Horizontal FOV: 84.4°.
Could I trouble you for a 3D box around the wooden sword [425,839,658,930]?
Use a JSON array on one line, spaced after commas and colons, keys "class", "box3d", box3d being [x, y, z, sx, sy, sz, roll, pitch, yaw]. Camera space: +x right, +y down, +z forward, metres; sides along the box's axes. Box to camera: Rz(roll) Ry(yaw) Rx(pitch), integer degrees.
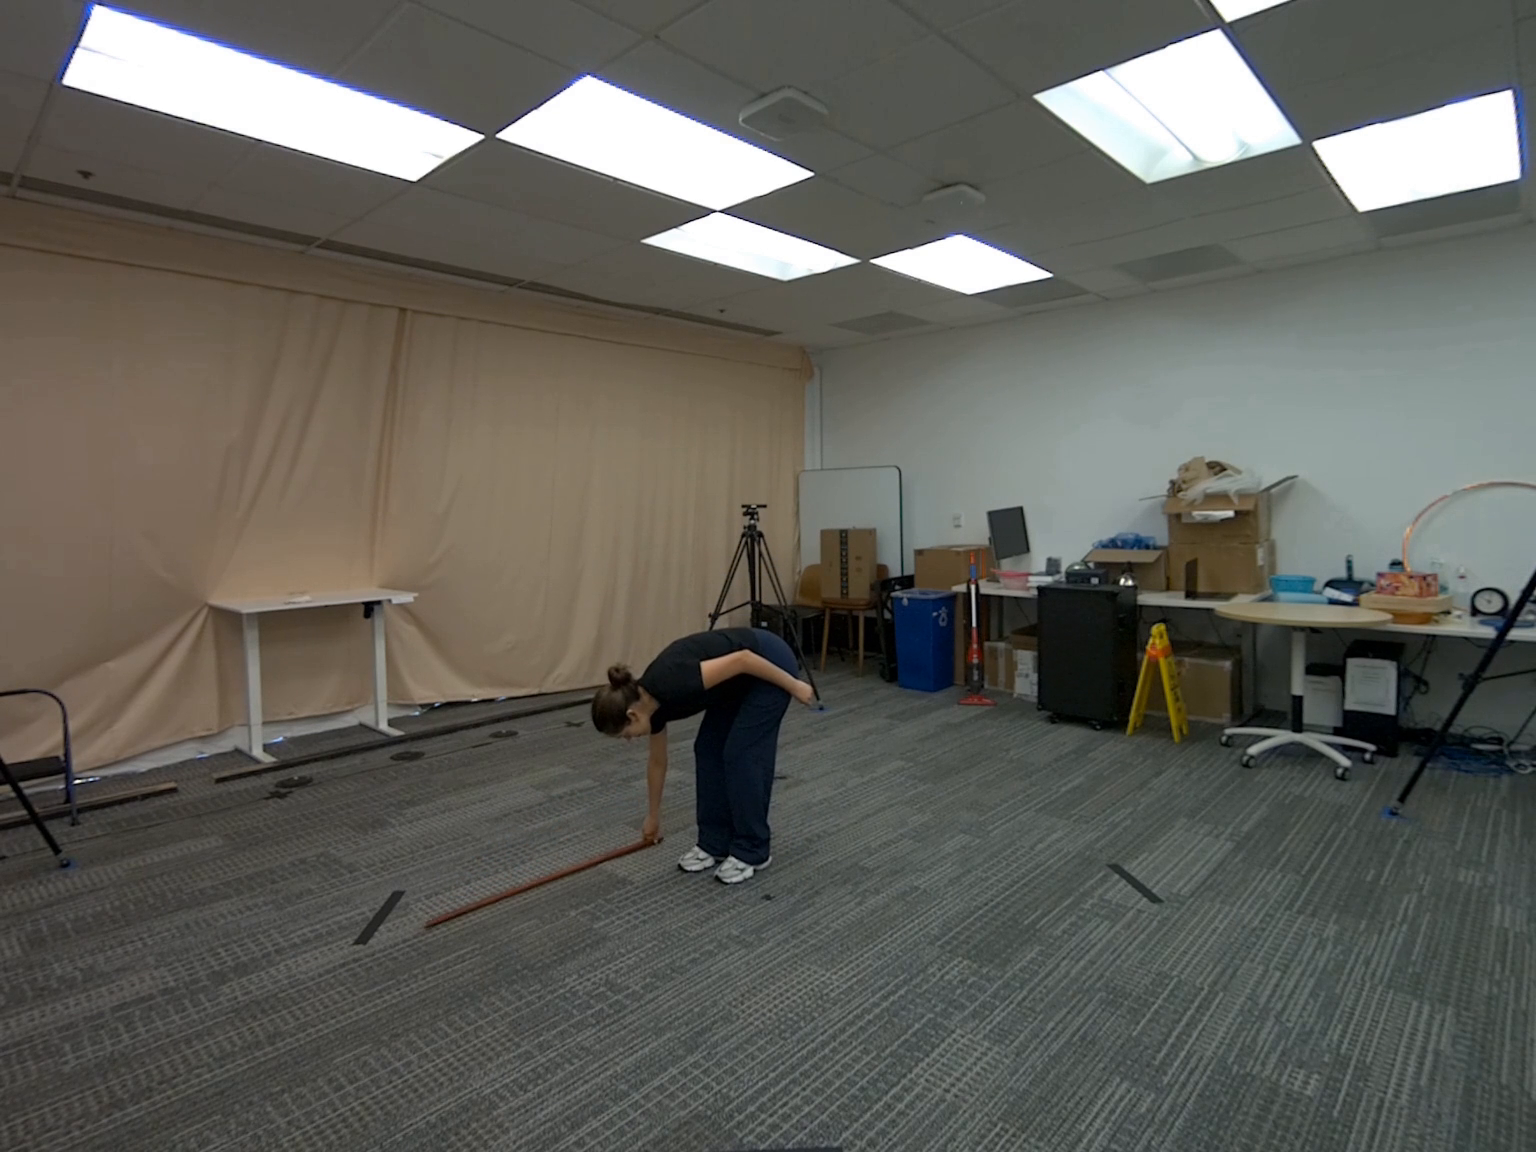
[{"class": "wooden sword", "box3d": [-0.790, 1.116, 3.157, 0.053, 0.024, 0.994, -7, -1, 45]}]
